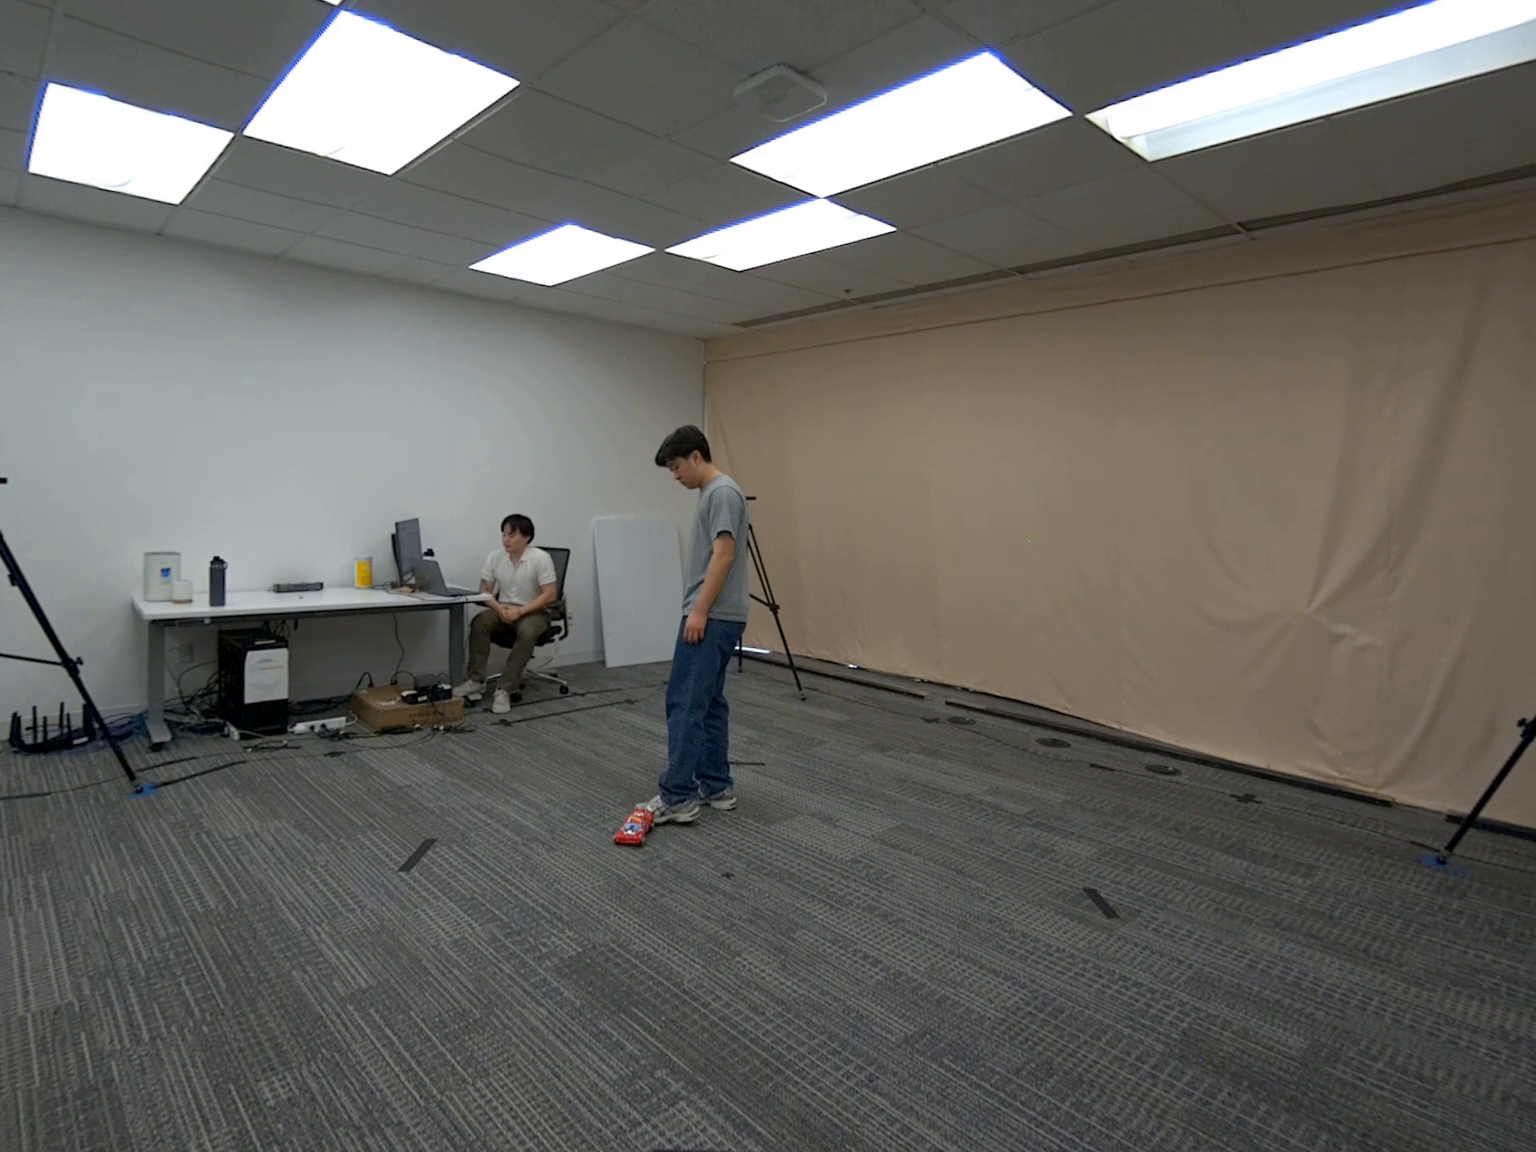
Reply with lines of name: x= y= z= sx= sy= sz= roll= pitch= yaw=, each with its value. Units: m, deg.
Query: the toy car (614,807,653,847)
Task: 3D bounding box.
toy car: x=-0.550 y=1.034 z=3.443 sx=0.131 sy=0.082 sz=0.256 roll=1 pitch=17 yaw=7
